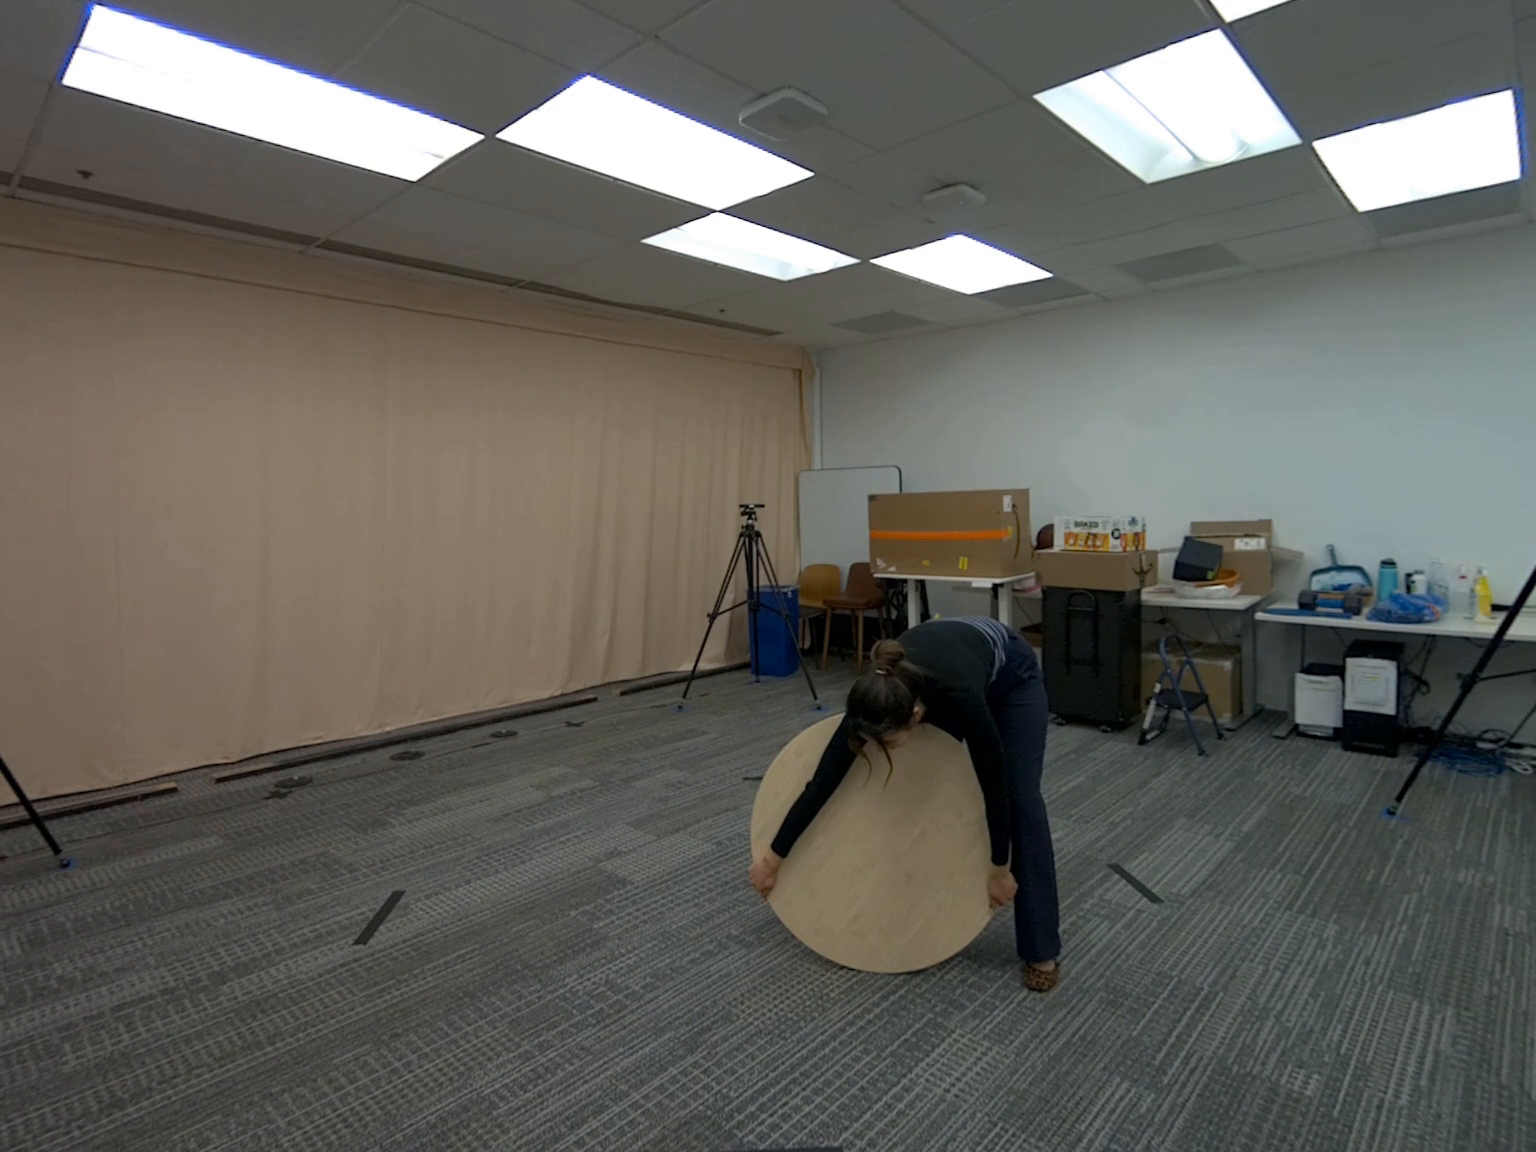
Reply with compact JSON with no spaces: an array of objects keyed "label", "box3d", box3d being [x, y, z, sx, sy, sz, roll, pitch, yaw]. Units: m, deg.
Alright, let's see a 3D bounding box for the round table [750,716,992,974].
[{"label":"round table","box3d":[0.369,0.805,2.906,0.771,0.765,0.786,0,-3,7]}]
